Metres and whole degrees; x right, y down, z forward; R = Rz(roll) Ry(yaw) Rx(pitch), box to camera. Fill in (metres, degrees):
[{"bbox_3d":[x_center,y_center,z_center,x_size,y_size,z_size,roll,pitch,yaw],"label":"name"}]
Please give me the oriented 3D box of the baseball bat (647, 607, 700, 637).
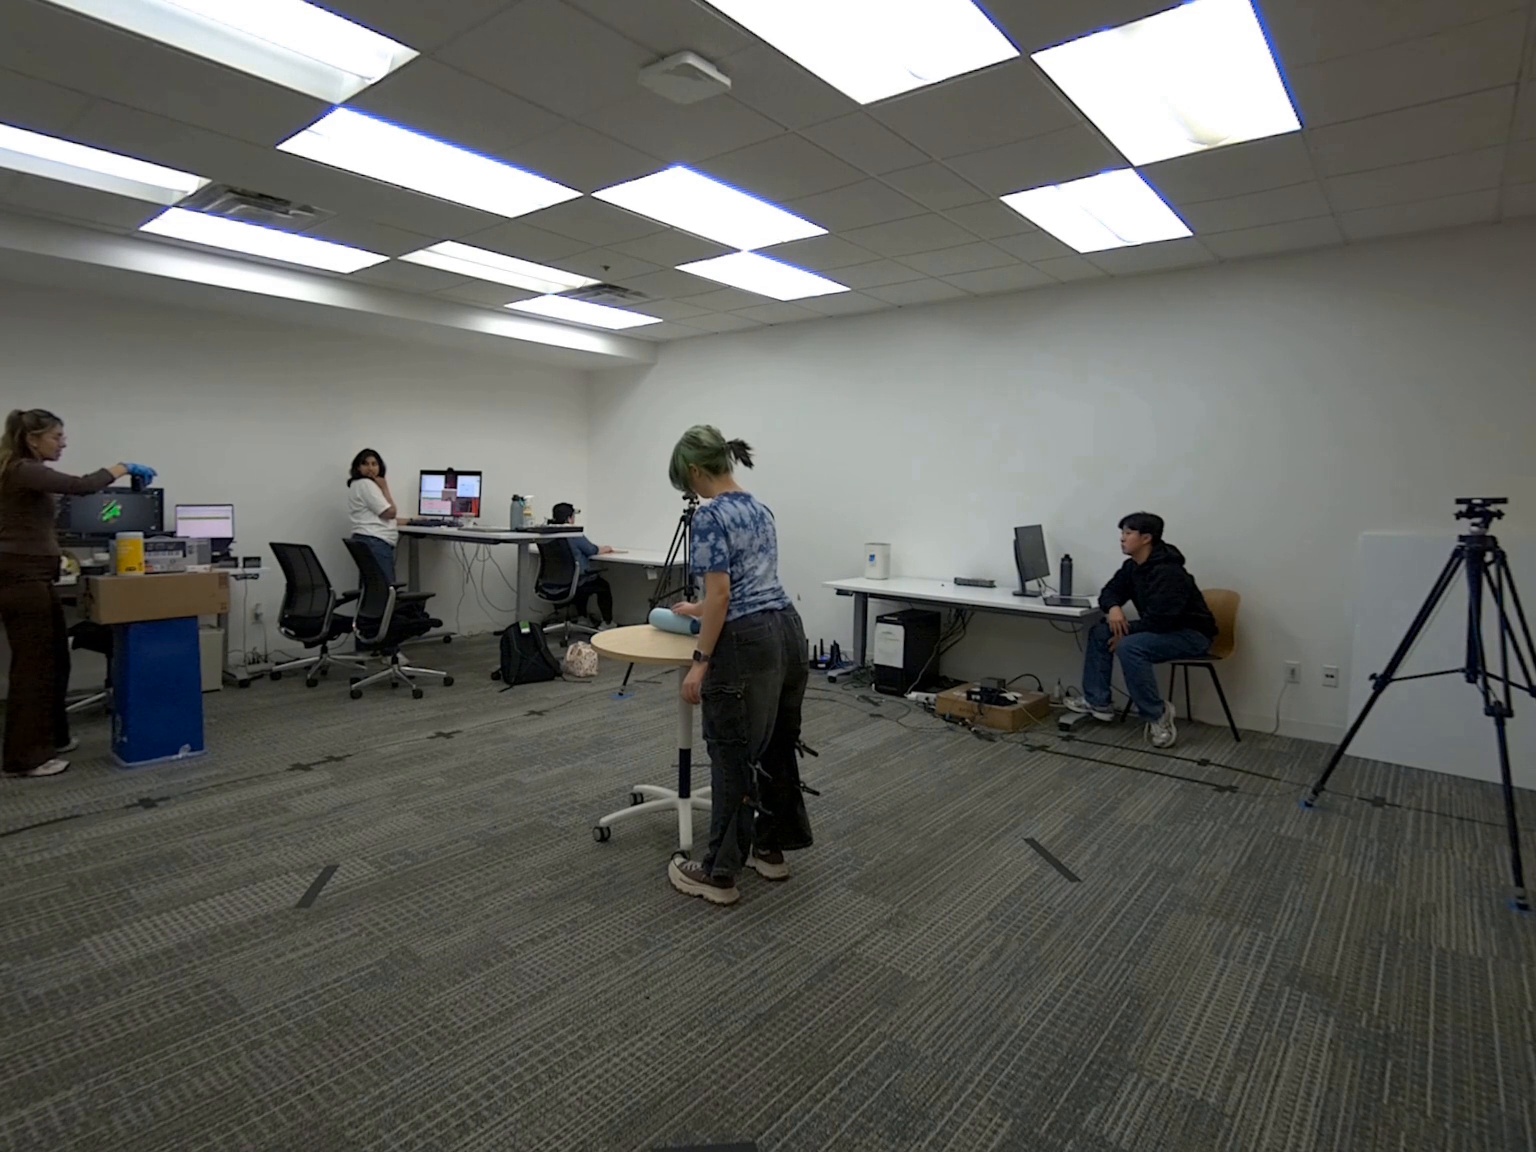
[{"bbox_3d":[-0.290,0.213,3.485,0.563,0.088,0.086,10,9,40],"label":"baseball bat"}]
